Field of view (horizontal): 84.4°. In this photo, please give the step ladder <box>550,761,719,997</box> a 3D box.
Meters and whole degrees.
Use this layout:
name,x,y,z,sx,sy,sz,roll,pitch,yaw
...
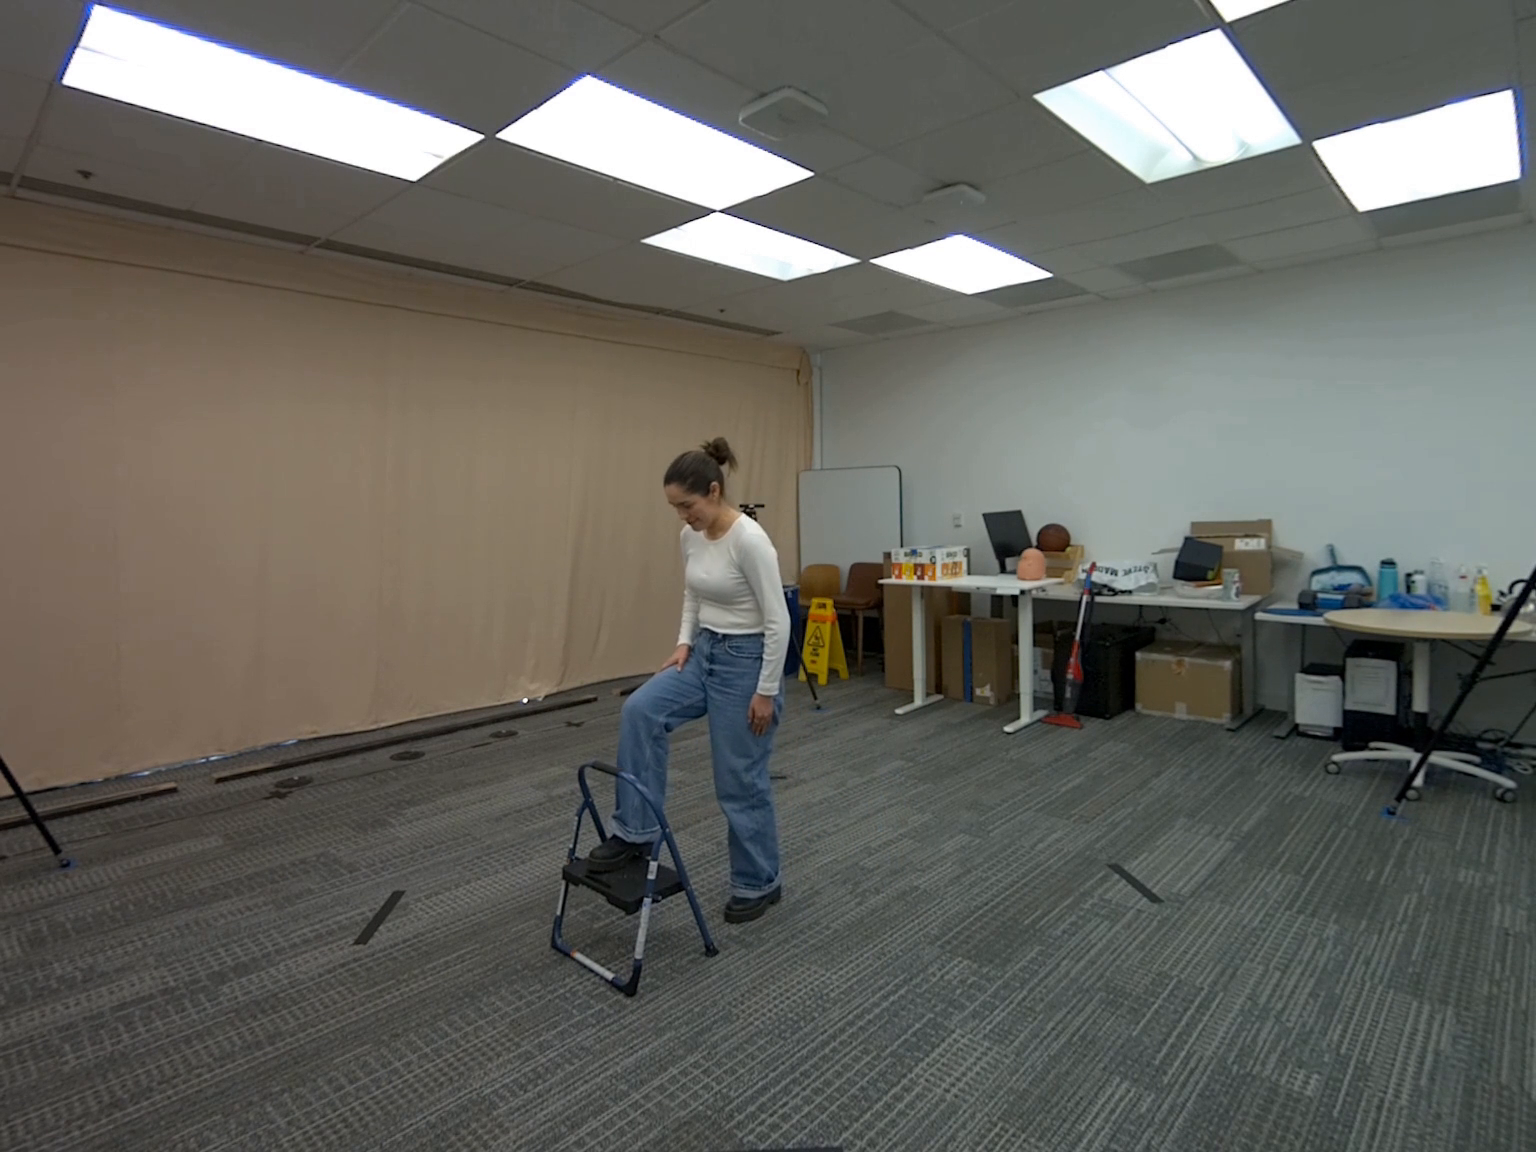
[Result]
name,x,y,z,sx,sy,sz,roll,pitch,yaw
step ladder,-0.430,0.878,2.635,0.445,0.605,0.339,1,4,43
